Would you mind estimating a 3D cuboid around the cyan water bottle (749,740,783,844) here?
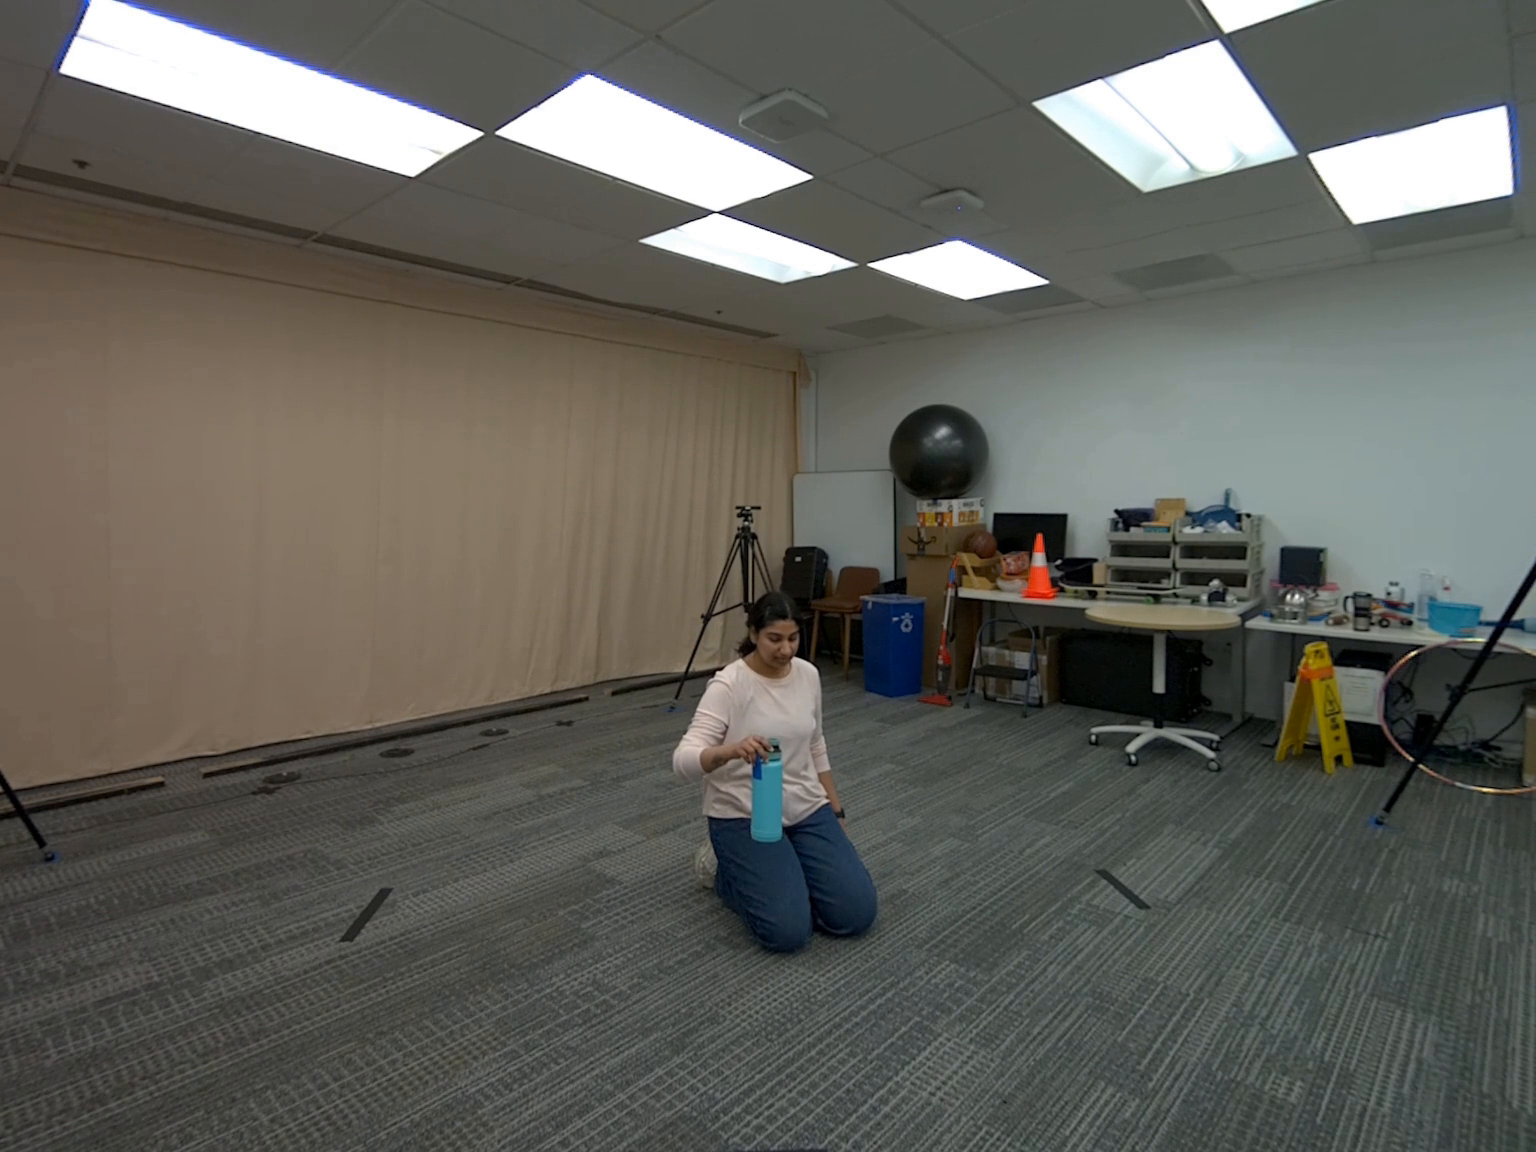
[{"bbox_3d":[-0.002,0.613,2.444,0.092,0.283,0.092,1,1,-2],"label":"cyan water bottle"}]
